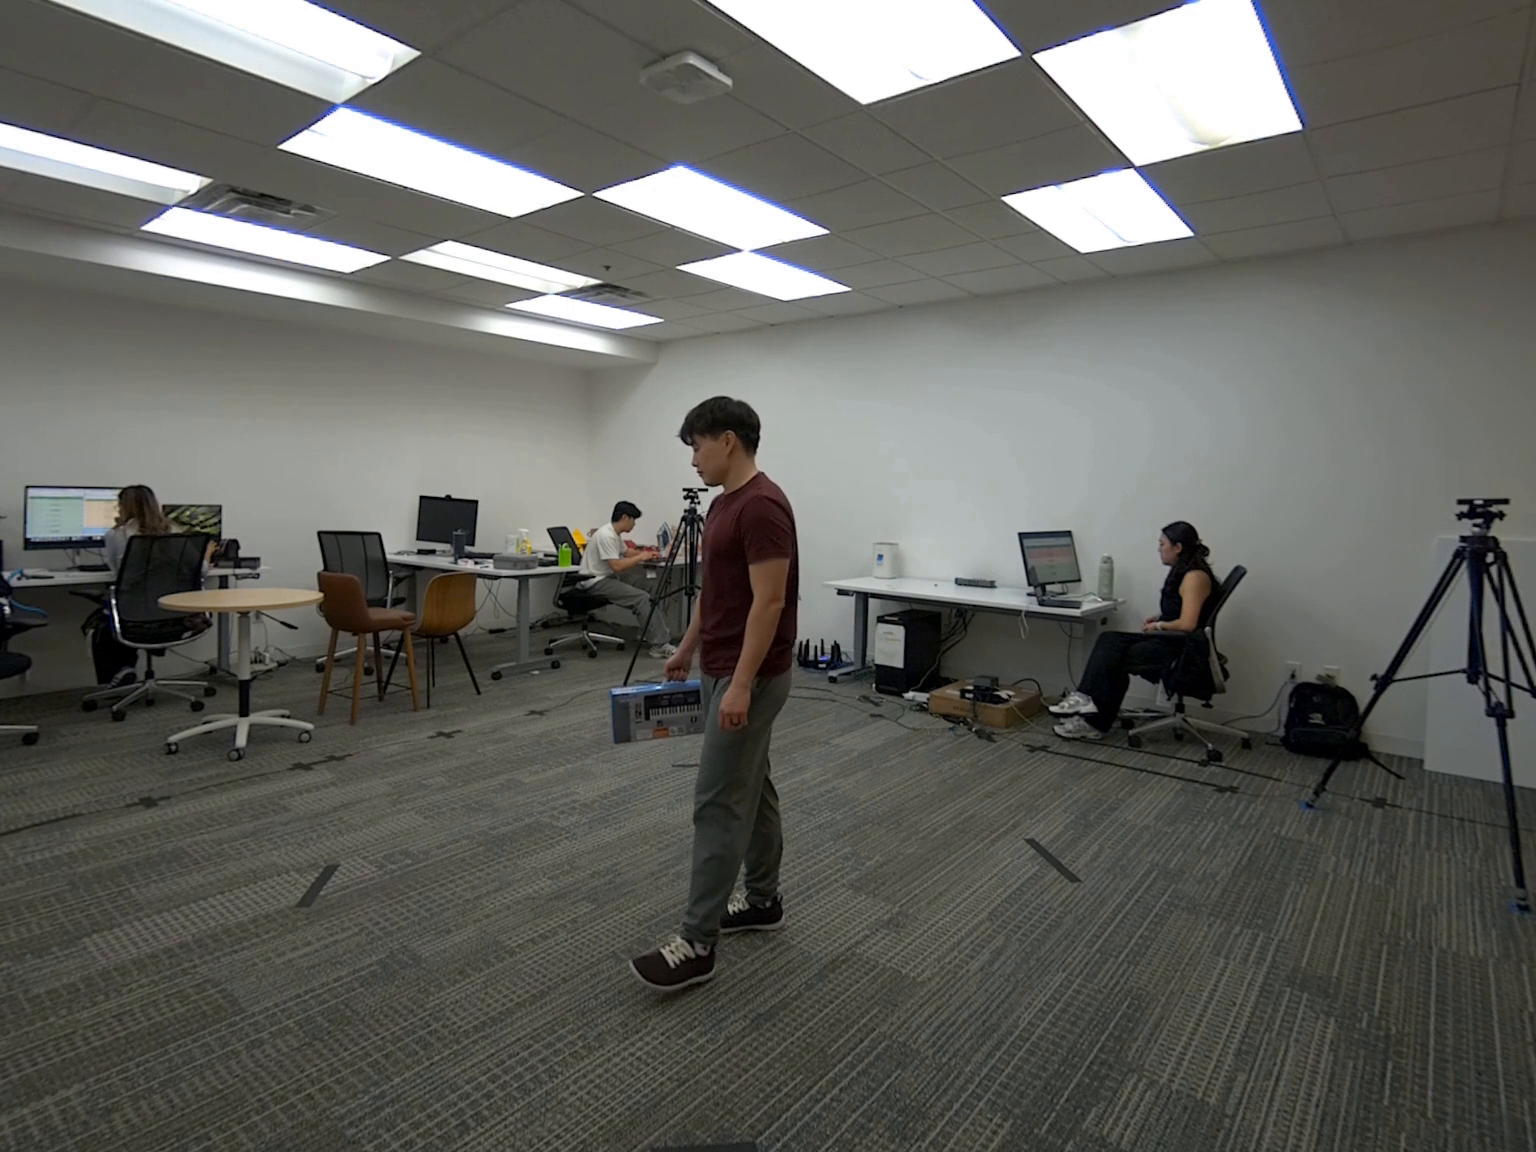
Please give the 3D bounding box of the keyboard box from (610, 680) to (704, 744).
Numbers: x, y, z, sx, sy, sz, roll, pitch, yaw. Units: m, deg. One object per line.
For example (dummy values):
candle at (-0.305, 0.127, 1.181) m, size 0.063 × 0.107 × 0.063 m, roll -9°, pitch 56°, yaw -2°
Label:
keyboard box at (-0.316, 0.444, 2.842) m, size 0.431 × 0.175 × 0.060 m, roll -3°, pitch 7°, yaw -14°
